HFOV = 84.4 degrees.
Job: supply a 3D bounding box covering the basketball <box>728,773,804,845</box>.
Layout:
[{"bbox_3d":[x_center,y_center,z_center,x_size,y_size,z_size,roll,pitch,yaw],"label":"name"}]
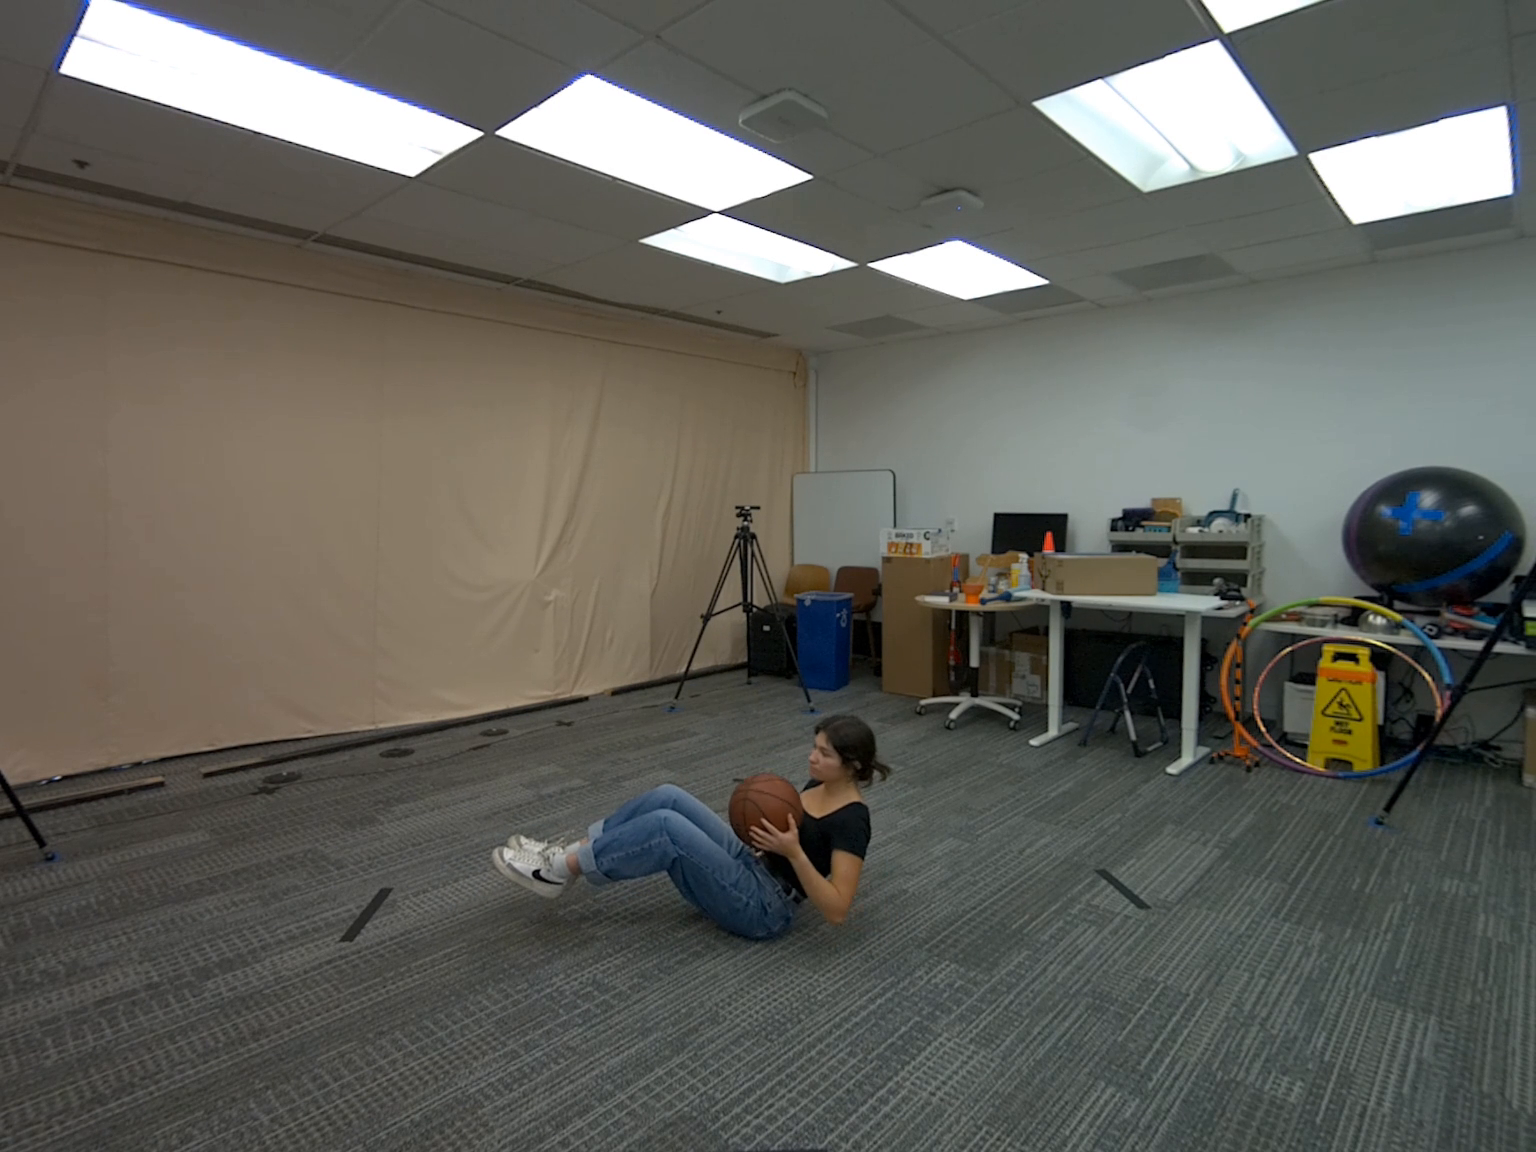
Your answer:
[{"bbox_3d":[0.002,0.761,2.690,0.236,0.235,0.237,0,4,-2],"label":"basketball"}]
